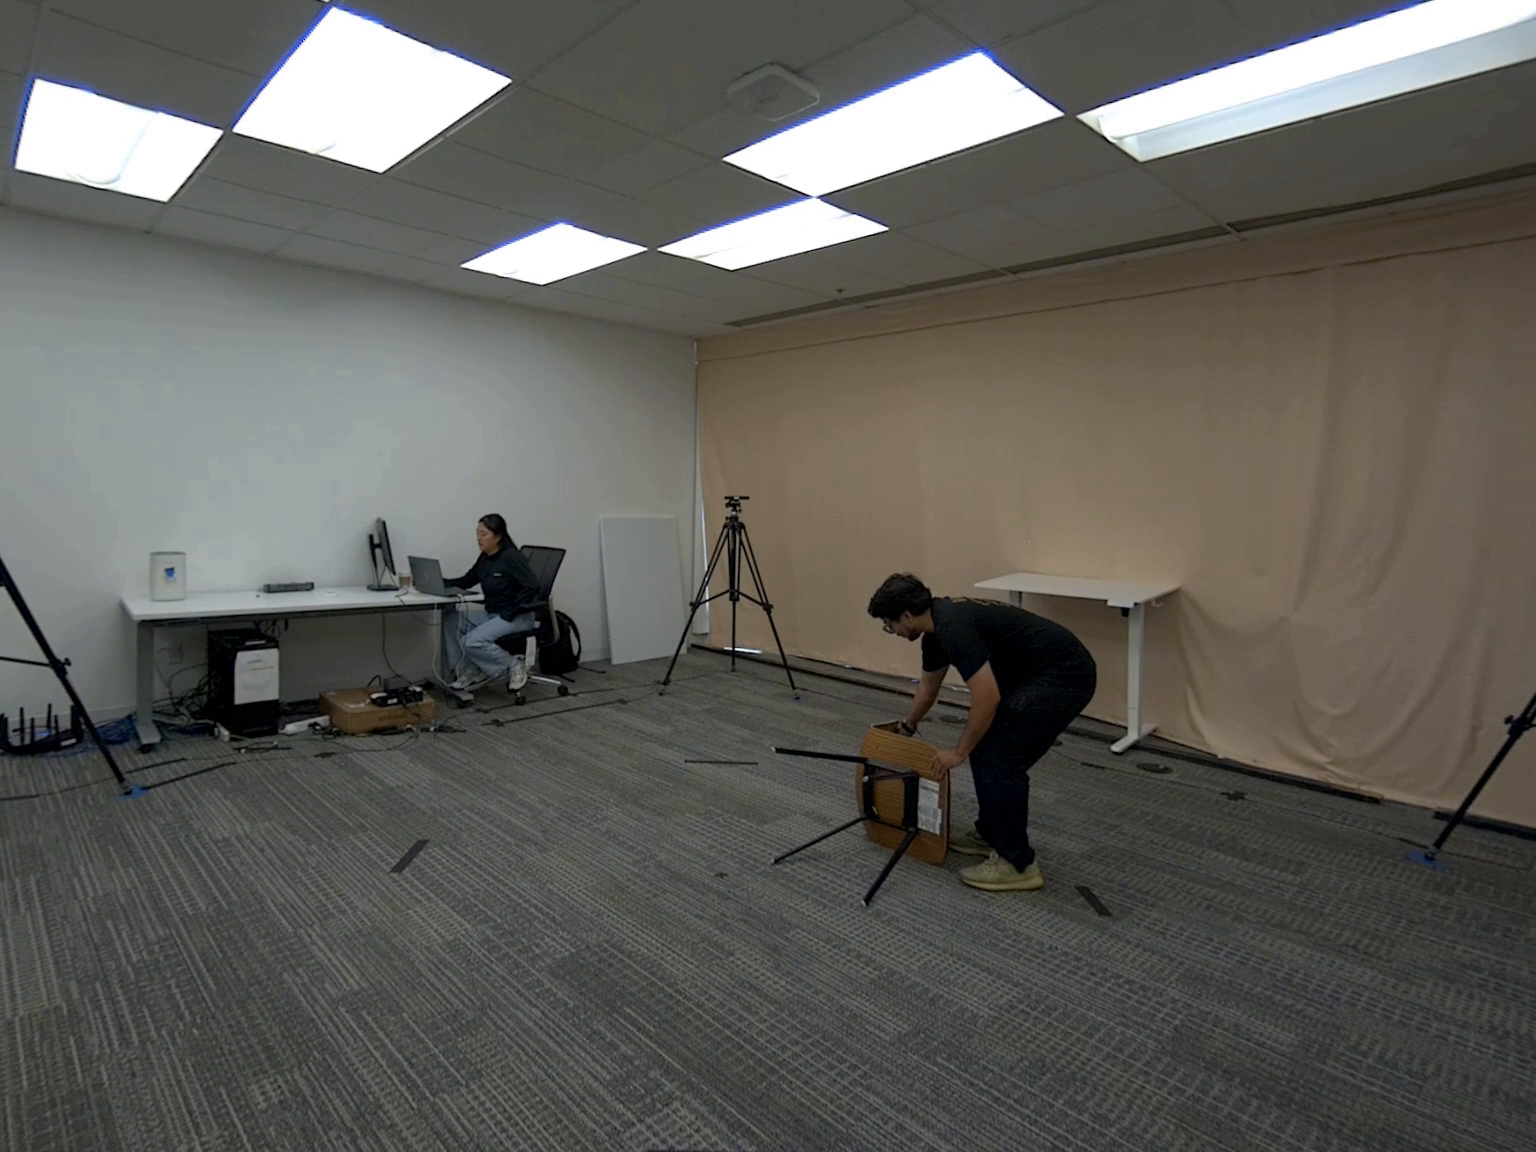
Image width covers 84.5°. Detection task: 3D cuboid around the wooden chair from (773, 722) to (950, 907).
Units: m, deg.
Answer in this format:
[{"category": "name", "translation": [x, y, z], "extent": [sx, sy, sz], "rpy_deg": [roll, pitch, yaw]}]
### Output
[{"category": "wooden chair", "translation": [0.477, 0.868, 3.317], "extent": [0.536, 0.477, 0.857], "rpy_deg": [4, 5, 40]}]
